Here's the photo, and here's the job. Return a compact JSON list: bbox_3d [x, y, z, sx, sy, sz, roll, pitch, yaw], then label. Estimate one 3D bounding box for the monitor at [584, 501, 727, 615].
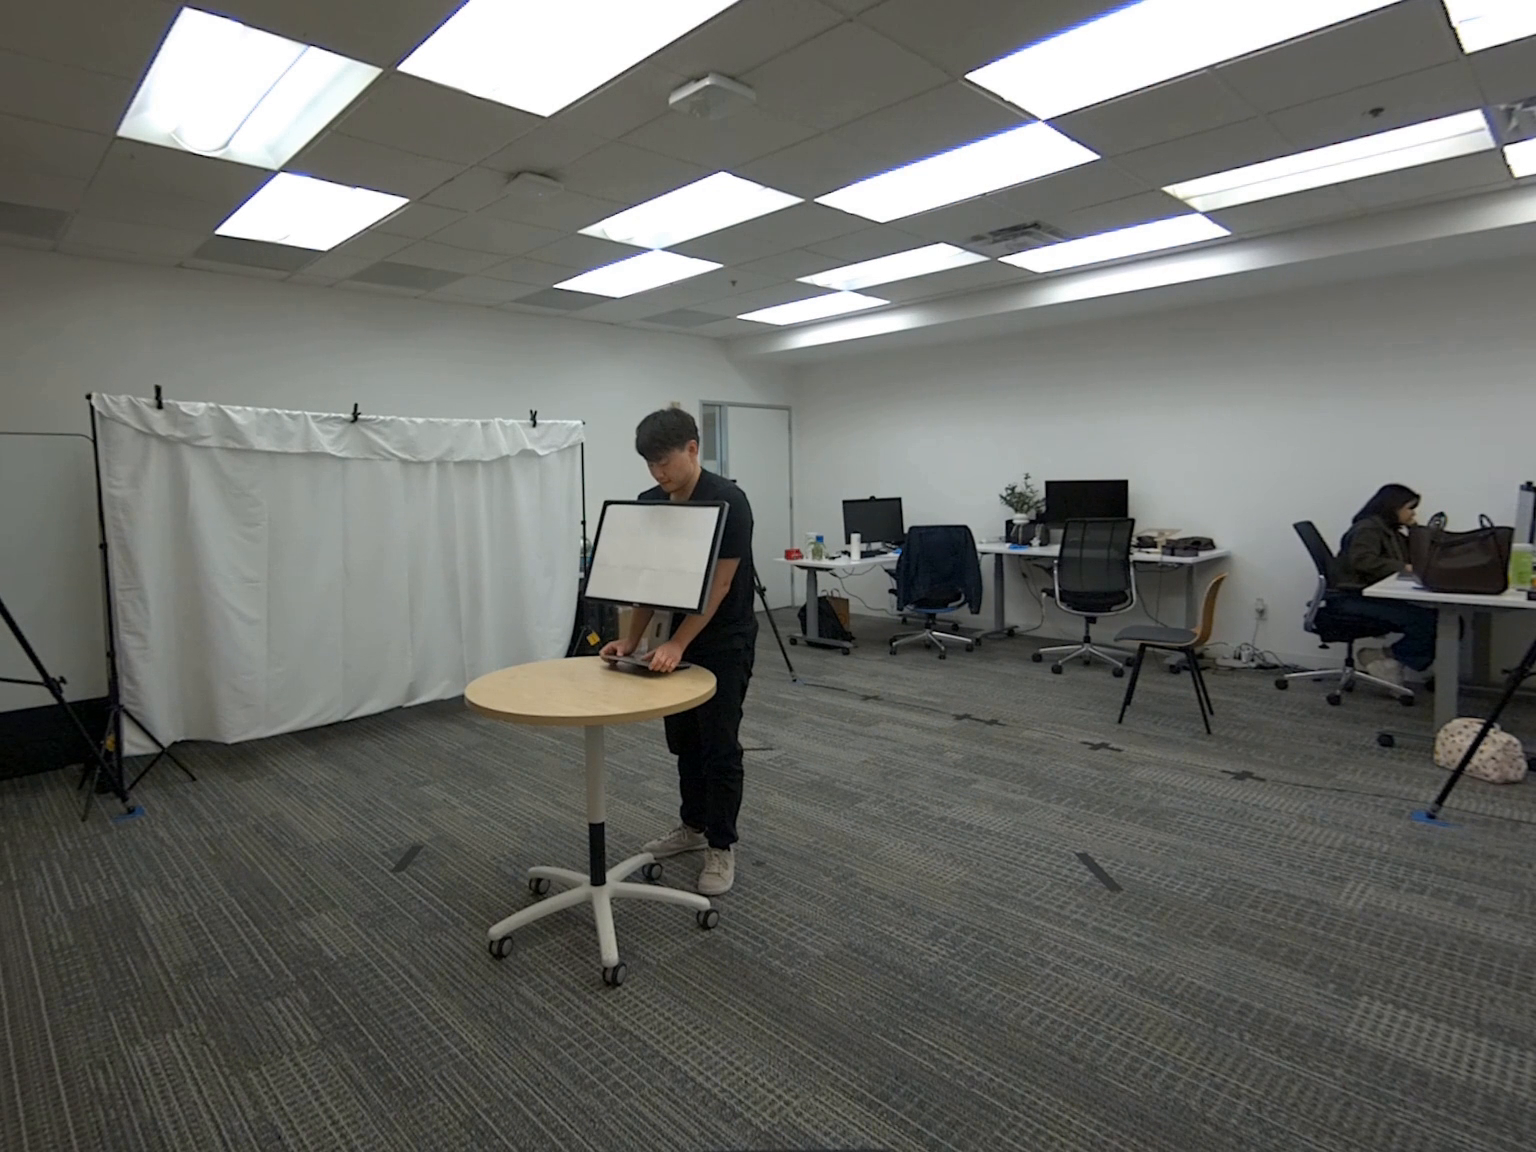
[{"bbox_3d":[-0.376,0.018,2.829,0.555,0.524,0.181,3,-3,38],"label":"monitor"}]
